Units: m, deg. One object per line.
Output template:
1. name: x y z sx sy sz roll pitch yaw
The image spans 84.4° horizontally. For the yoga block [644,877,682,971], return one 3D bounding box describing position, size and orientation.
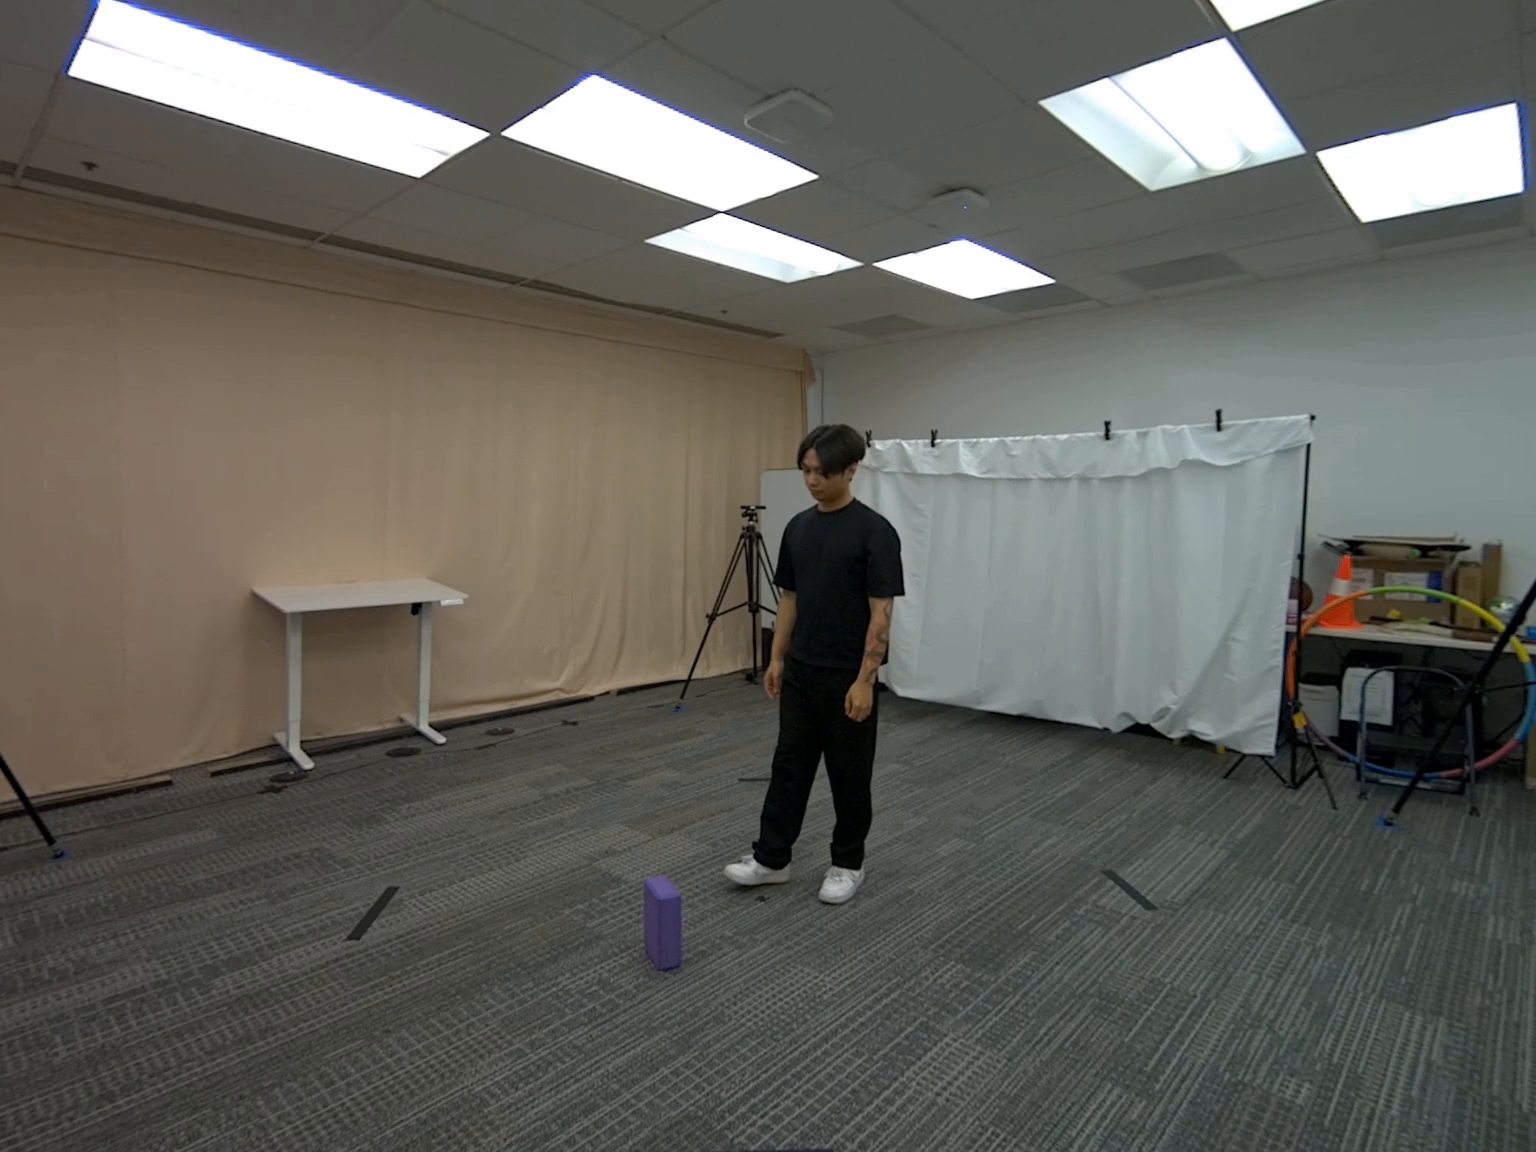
1. yoga block: -0.323 1.063 2.584 0.074 0.229 0.153 -1 4 -26
